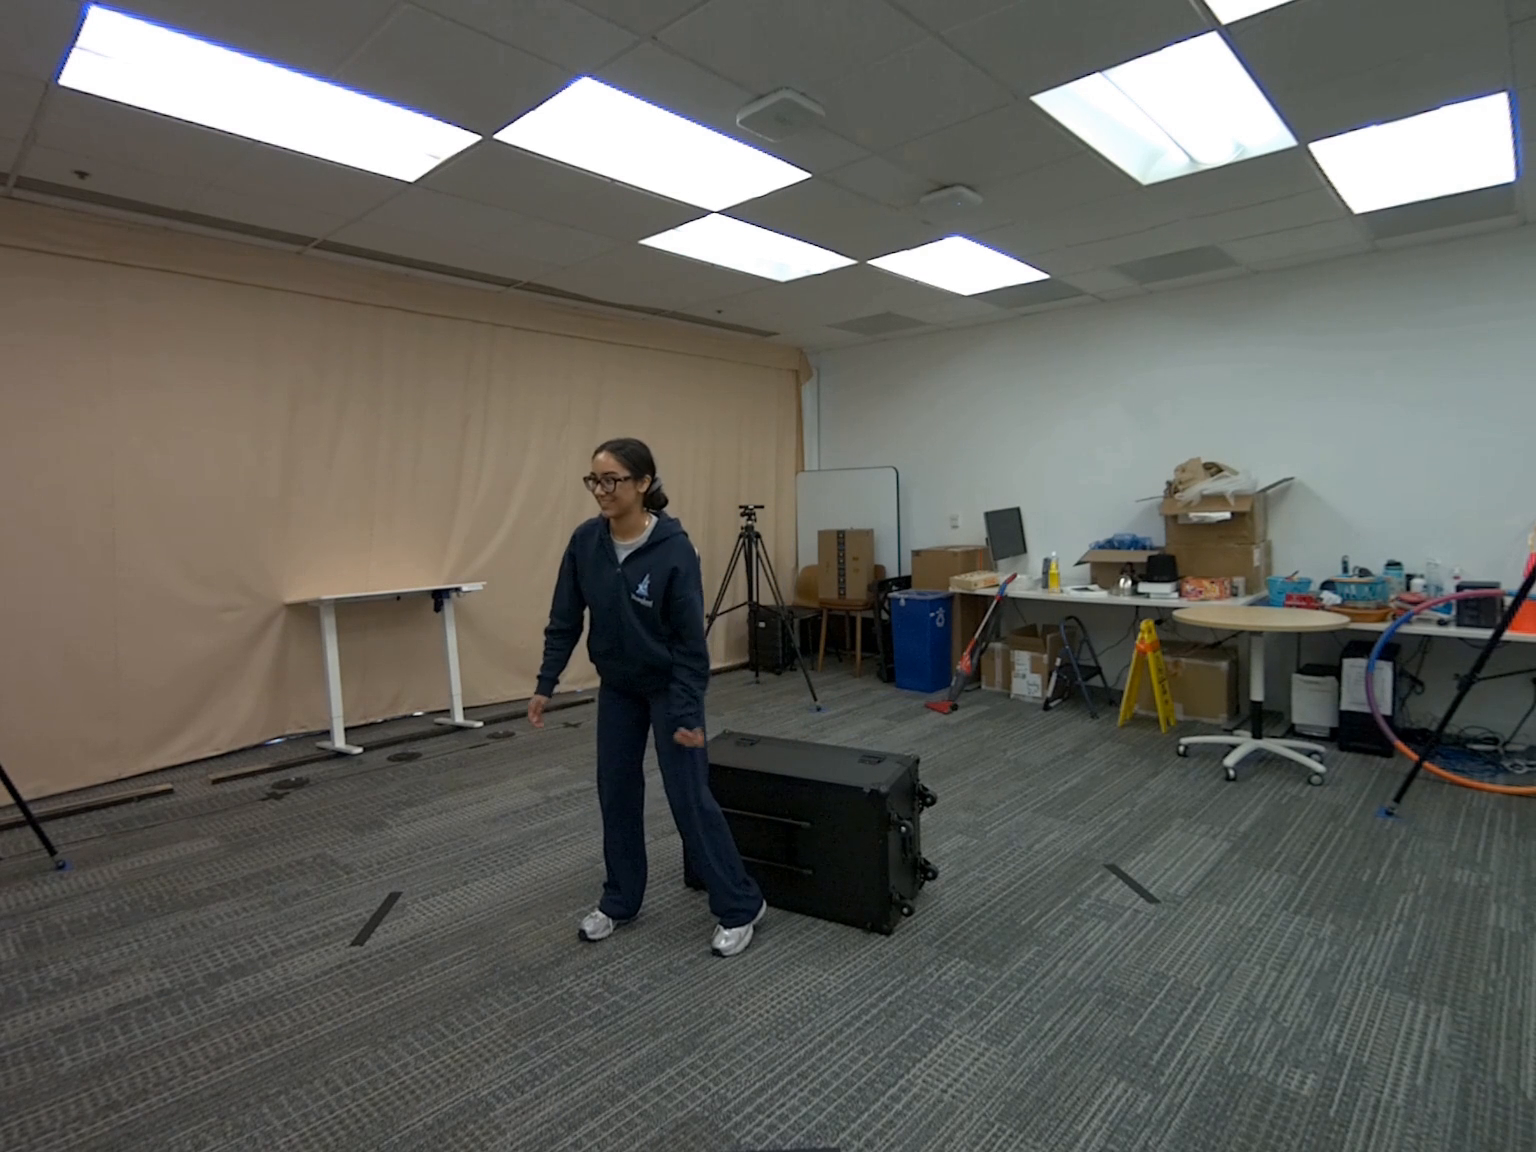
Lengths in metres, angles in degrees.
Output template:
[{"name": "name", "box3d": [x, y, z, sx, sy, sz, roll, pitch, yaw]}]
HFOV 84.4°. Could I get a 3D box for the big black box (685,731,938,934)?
[{"name": "big black box", "box3d": [0.137, 0.880, 2.995, 0.885, 0.519, 0.387, 1, 7, 29]}]
